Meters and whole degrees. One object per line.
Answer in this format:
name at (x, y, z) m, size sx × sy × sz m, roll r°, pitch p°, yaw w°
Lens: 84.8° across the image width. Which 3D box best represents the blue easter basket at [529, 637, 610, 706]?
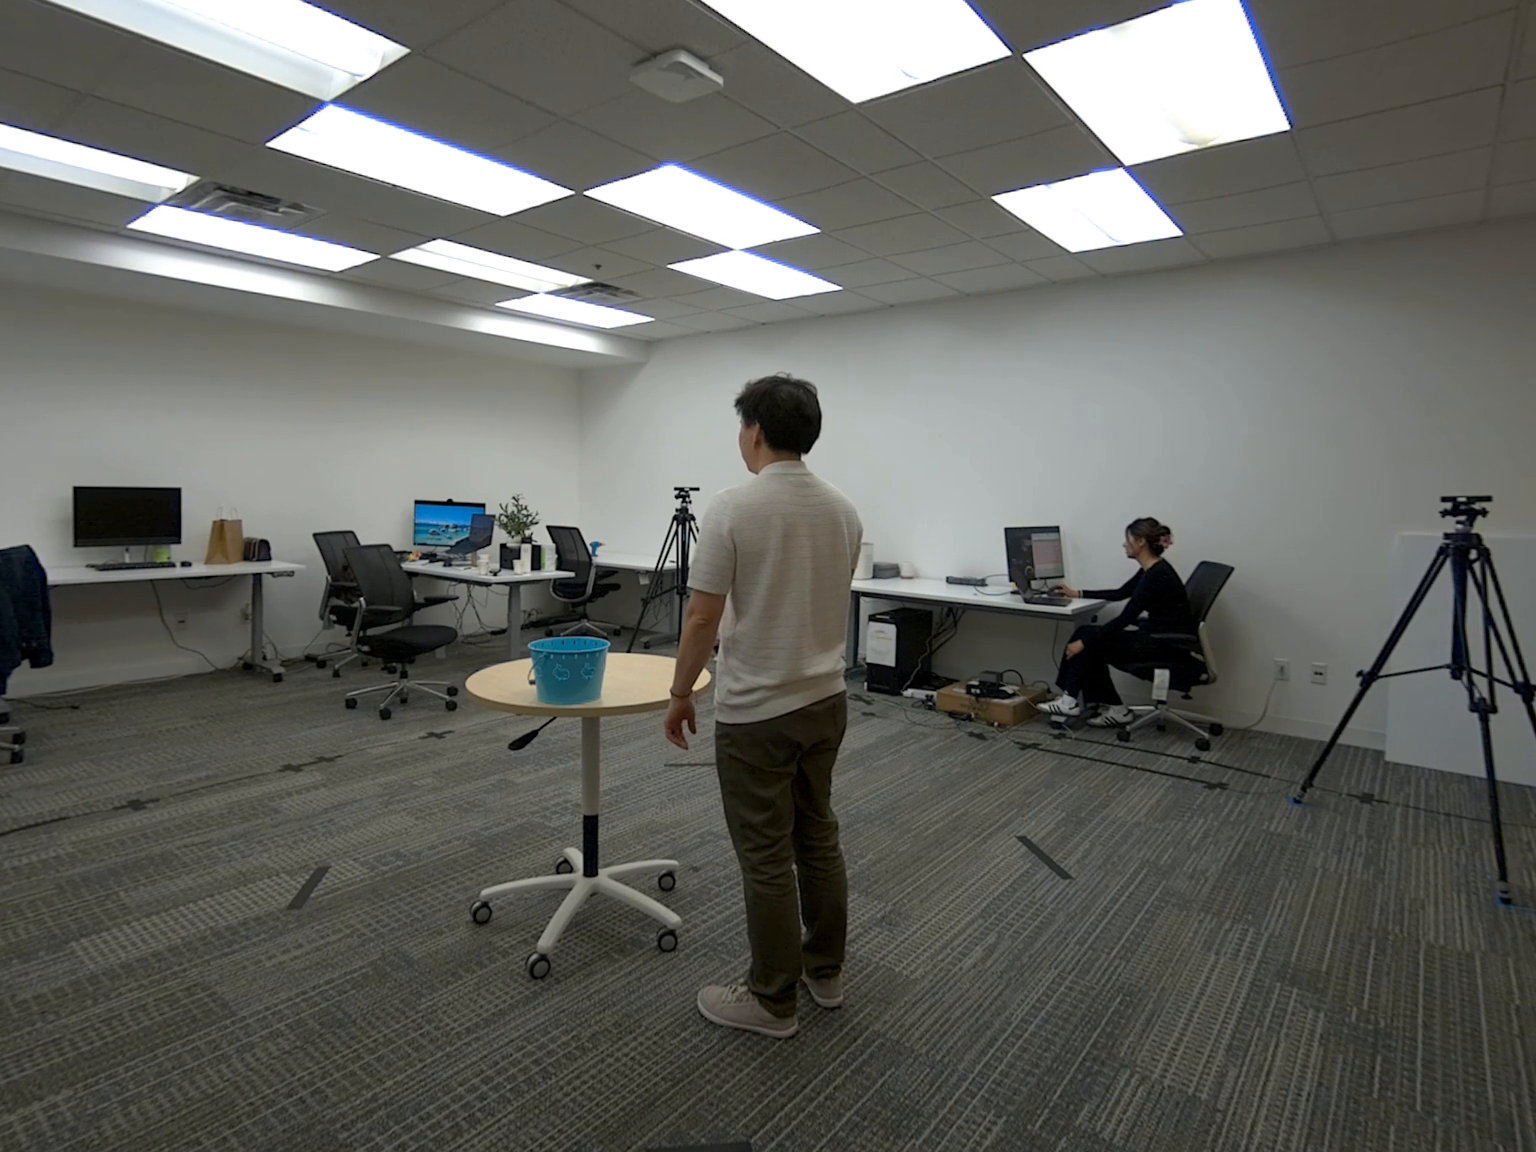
blue easter basket at (-0.581, 0.272, 2.439) m, size 0.243 × 0.155 × 0.245 m, roll 1°, pitch 6°, yaw -2°
